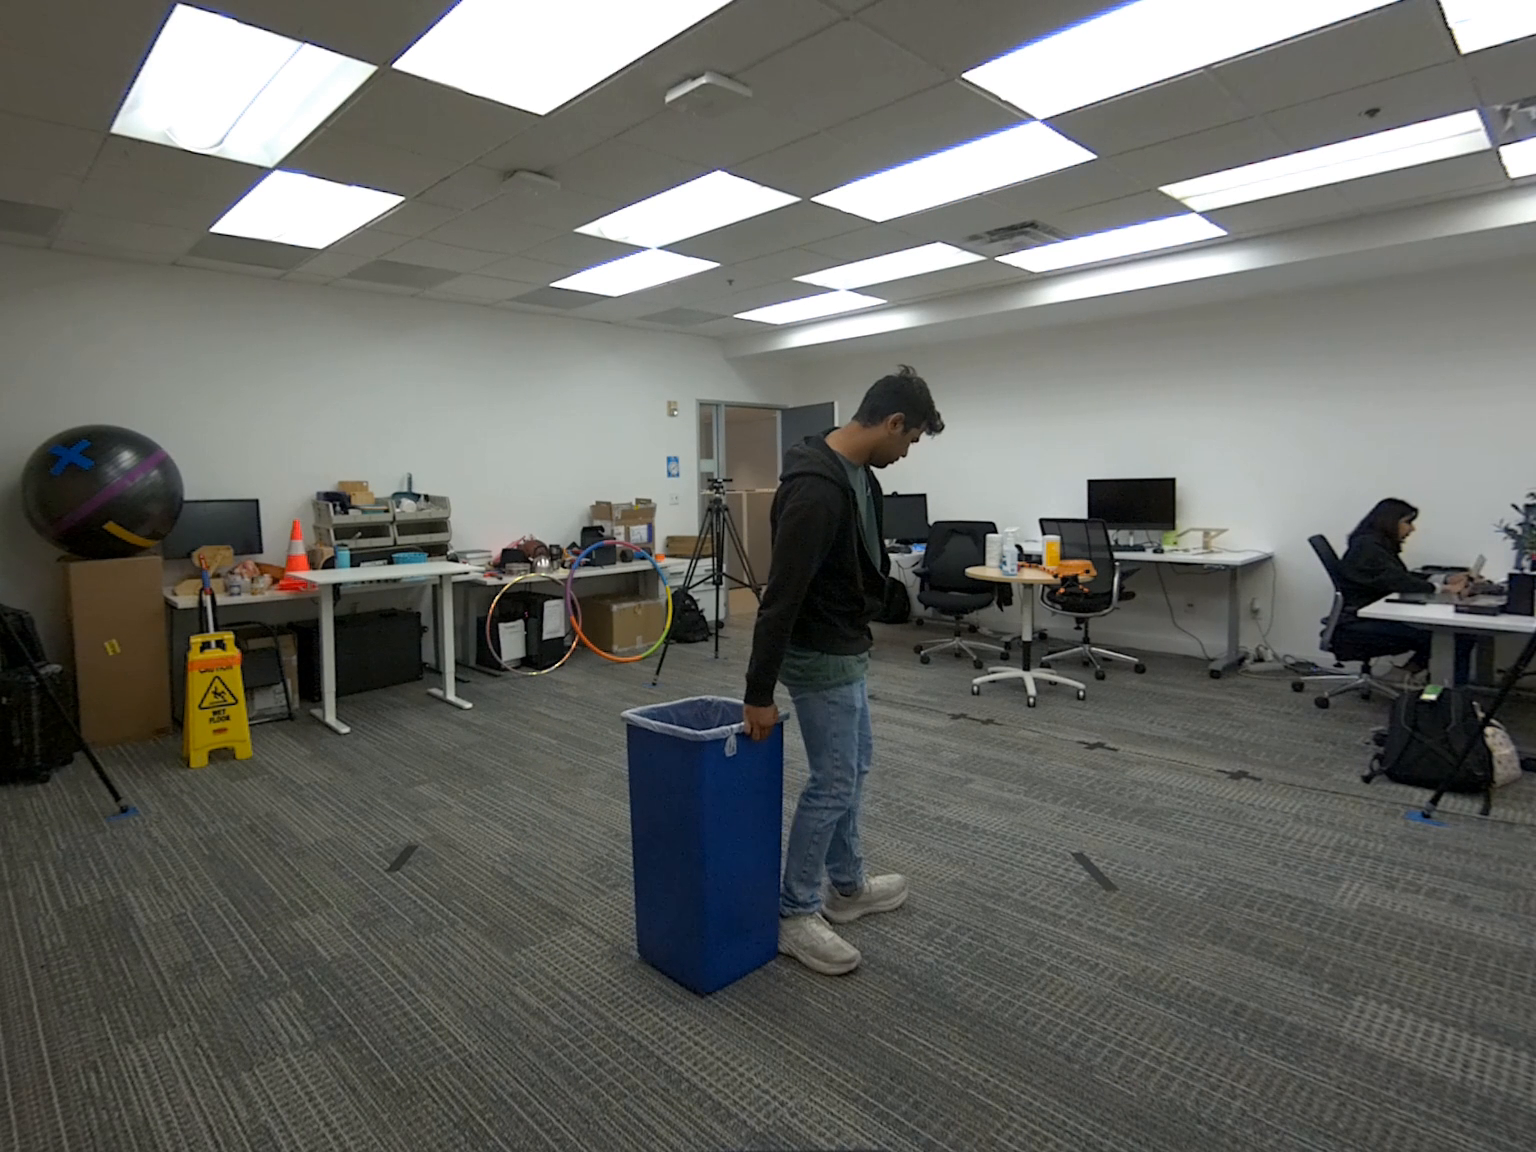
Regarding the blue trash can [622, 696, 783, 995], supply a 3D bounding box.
[{"bbox_3d":[-0.176,0.753,2.502,0.364,0.712,0.389,-4,3,-44],"label":"blue trash can"}]
